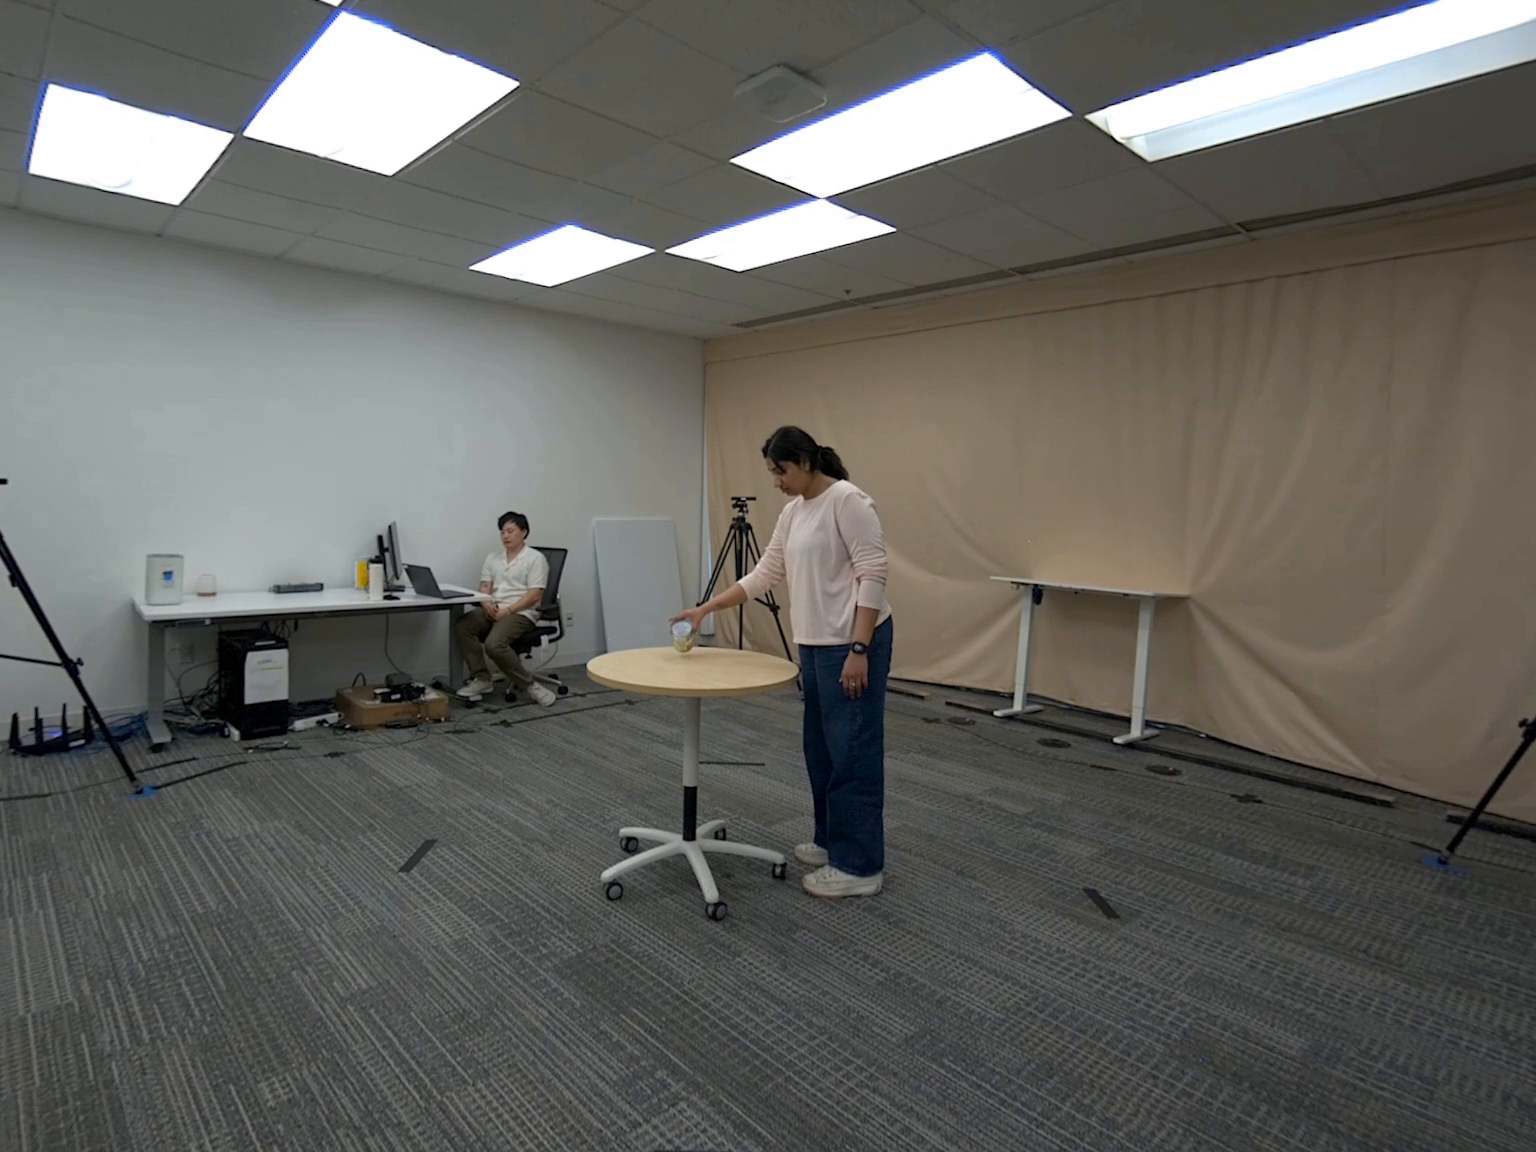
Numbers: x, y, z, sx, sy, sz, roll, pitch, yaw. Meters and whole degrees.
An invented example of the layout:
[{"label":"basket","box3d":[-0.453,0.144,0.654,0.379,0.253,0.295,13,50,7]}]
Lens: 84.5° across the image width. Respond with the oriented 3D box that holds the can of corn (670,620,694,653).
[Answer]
[{"label":"can of corn","box3d":[-0.328,0.230,3.192,0.074,0.076,0.109,2,-38,-1]}]
